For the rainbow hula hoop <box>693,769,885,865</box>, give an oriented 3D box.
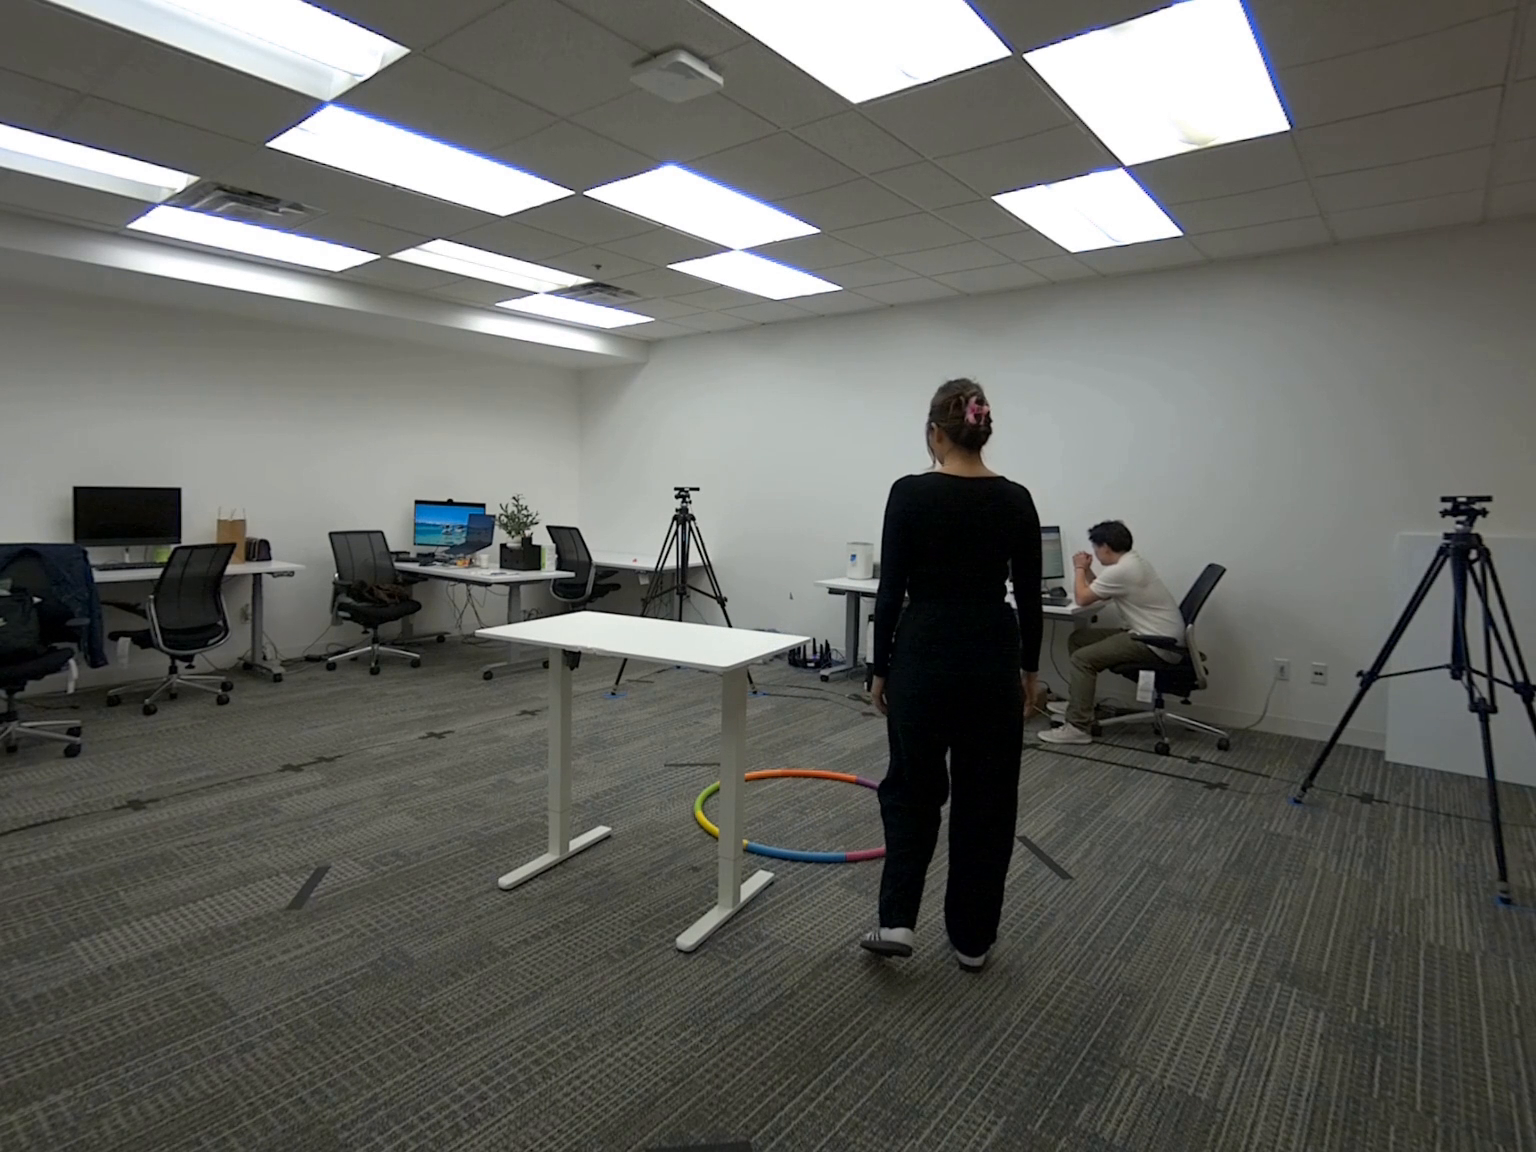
[{"bbox_3d":[0.160,0.991,3.659,0.978,0.035,0.984,1,6,-2],"label":"rainbow hula hoop"}]
